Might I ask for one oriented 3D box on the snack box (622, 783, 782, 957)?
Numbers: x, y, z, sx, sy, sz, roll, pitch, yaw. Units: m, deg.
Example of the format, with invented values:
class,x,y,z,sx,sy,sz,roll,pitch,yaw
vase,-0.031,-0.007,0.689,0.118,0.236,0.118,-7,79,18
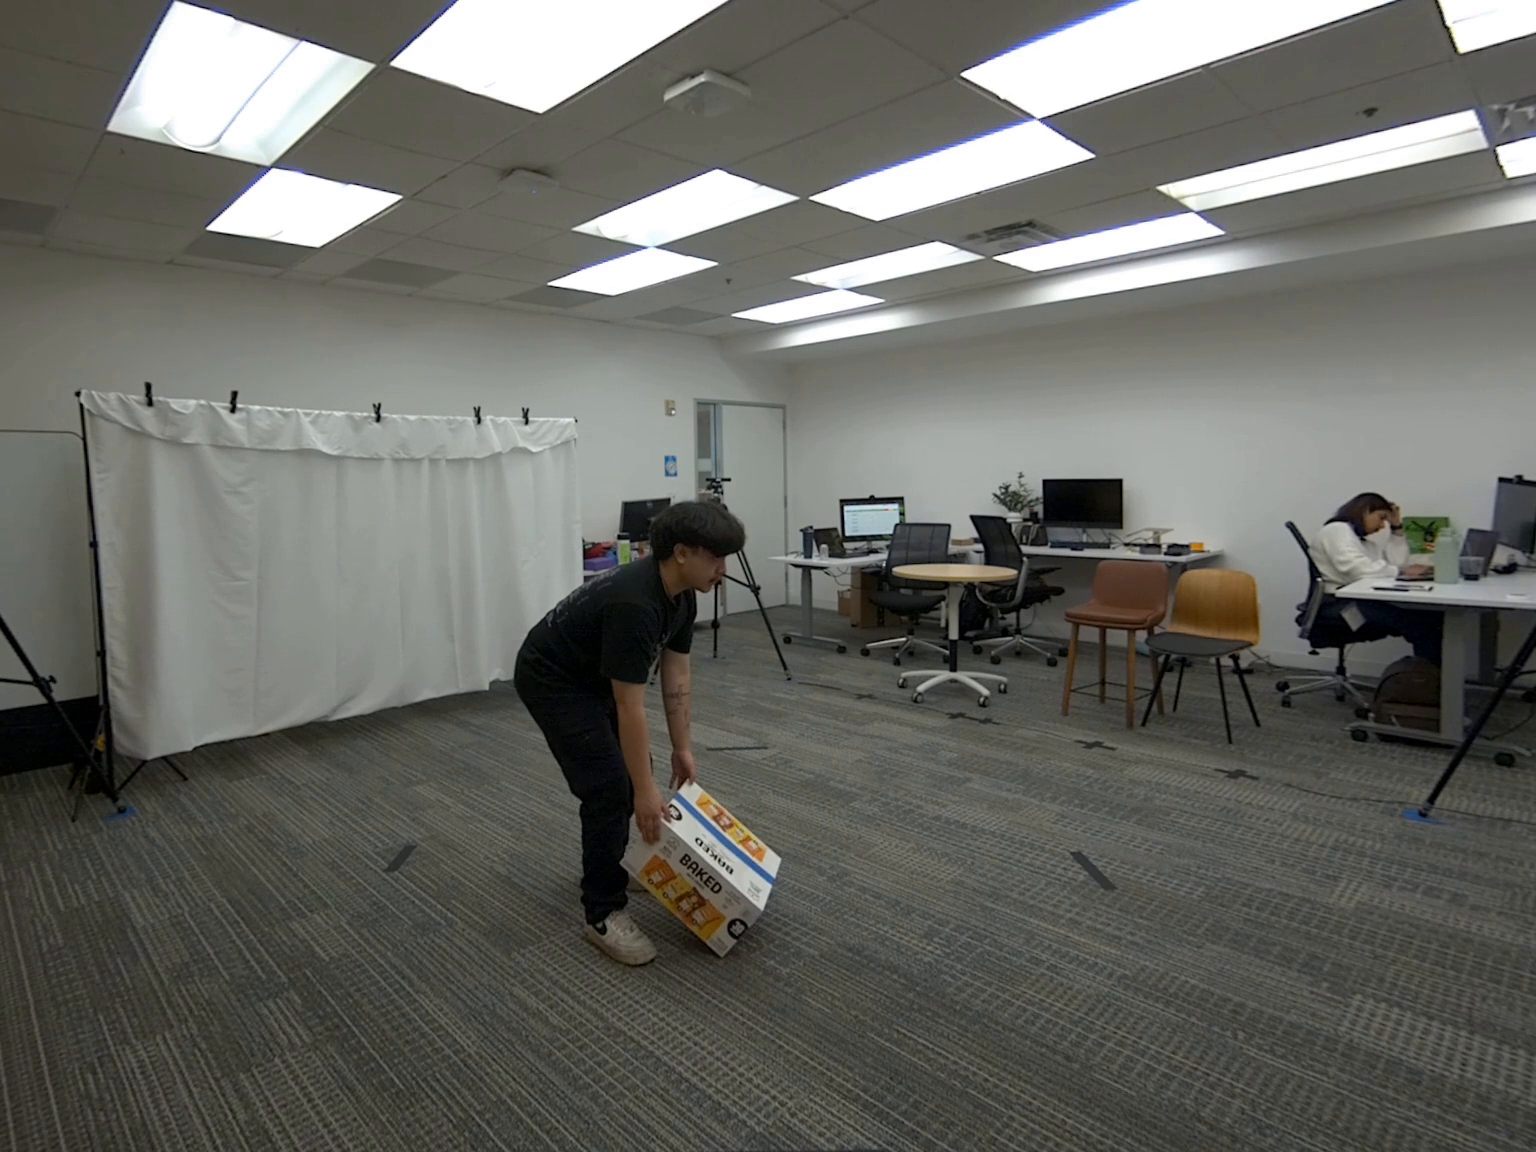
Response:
class,x,y,z,sx,sy,sz,roll,pitch,yaw
snack box,-0.196,0.892,2.661,0.409,0.205,0.338,39,11,6
